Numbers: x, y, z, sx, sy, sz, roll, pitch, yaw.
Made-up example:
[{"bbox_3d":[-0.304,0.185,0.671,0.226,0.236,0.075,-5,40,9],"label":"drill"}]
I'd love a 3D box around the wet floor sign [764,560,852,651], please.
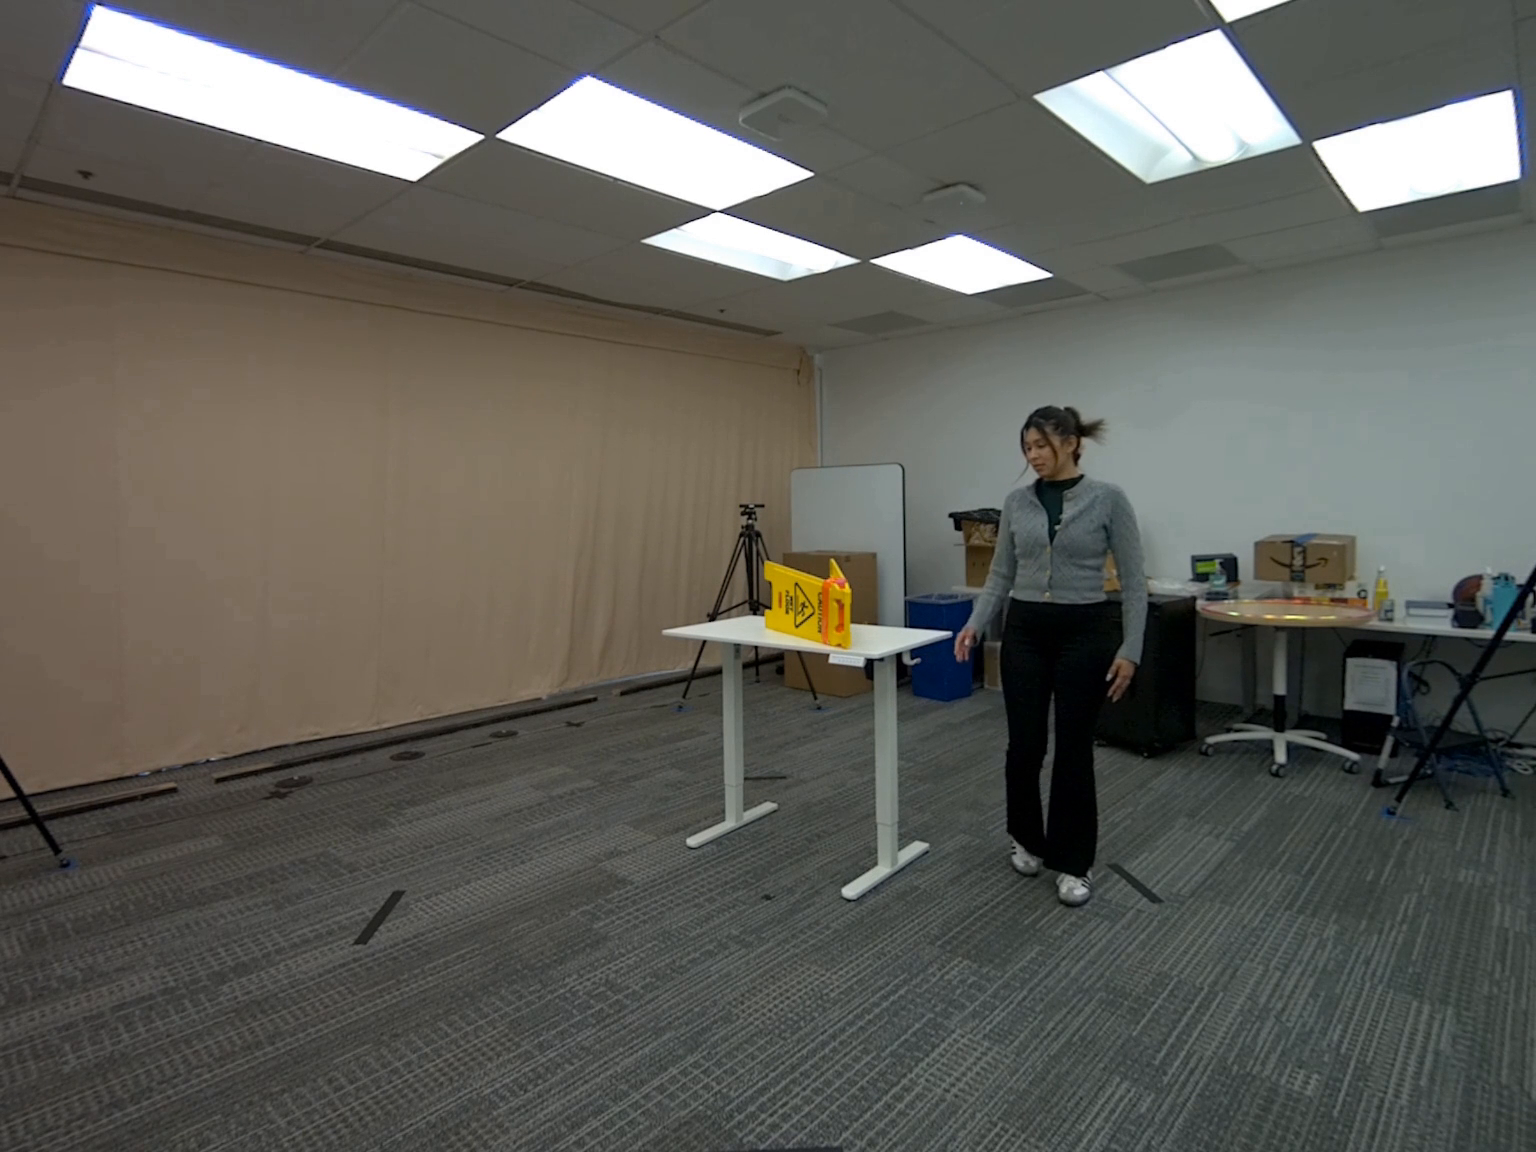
[{"bbox_3d":[0.209,0.112,3.211,0.286,0.281,0.656,-2,7,-12],"label":"wet floor sign"}]
